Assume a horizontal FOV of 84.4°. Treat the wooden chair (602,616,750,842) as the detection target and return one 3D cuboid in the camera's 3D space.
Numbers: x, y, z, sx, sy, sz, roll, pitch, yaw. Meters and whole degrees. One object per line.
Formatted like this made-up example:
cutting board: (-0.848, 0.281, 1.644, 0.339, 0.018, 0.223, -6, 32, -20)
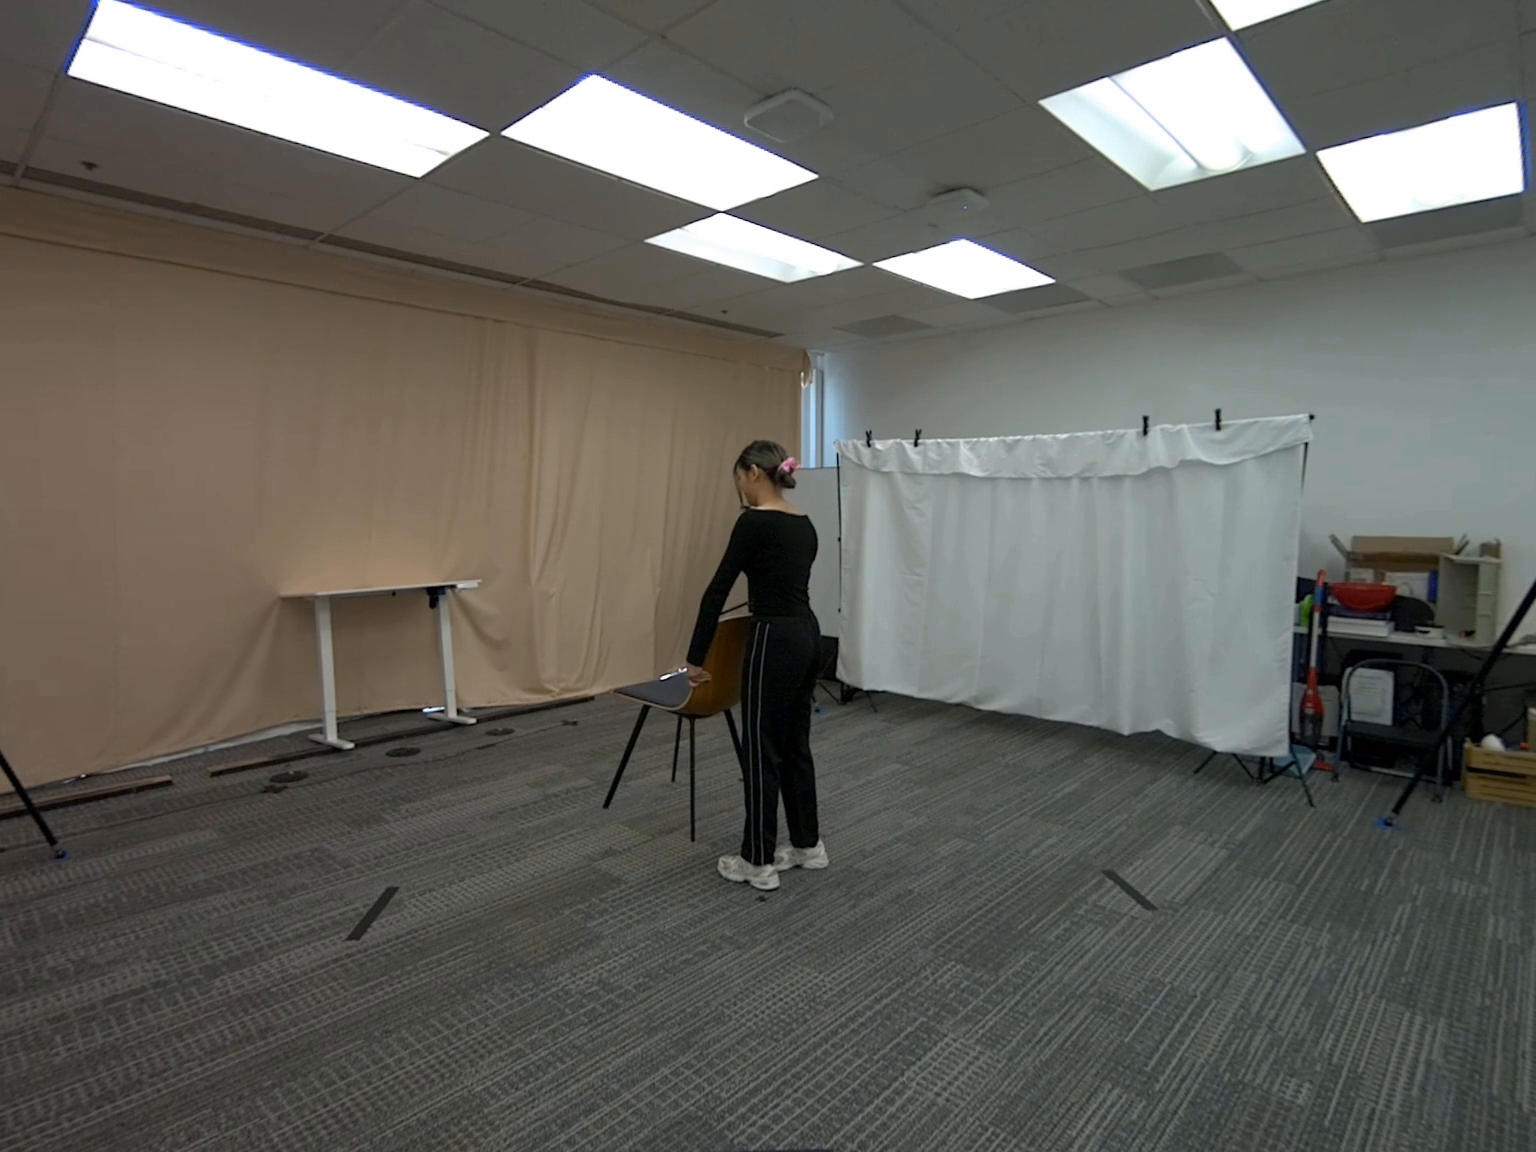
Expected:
wooden chair: (-0.325, 0.526, 3.377, 0.540, 0.874, 0.464, 13, 9, 32)
